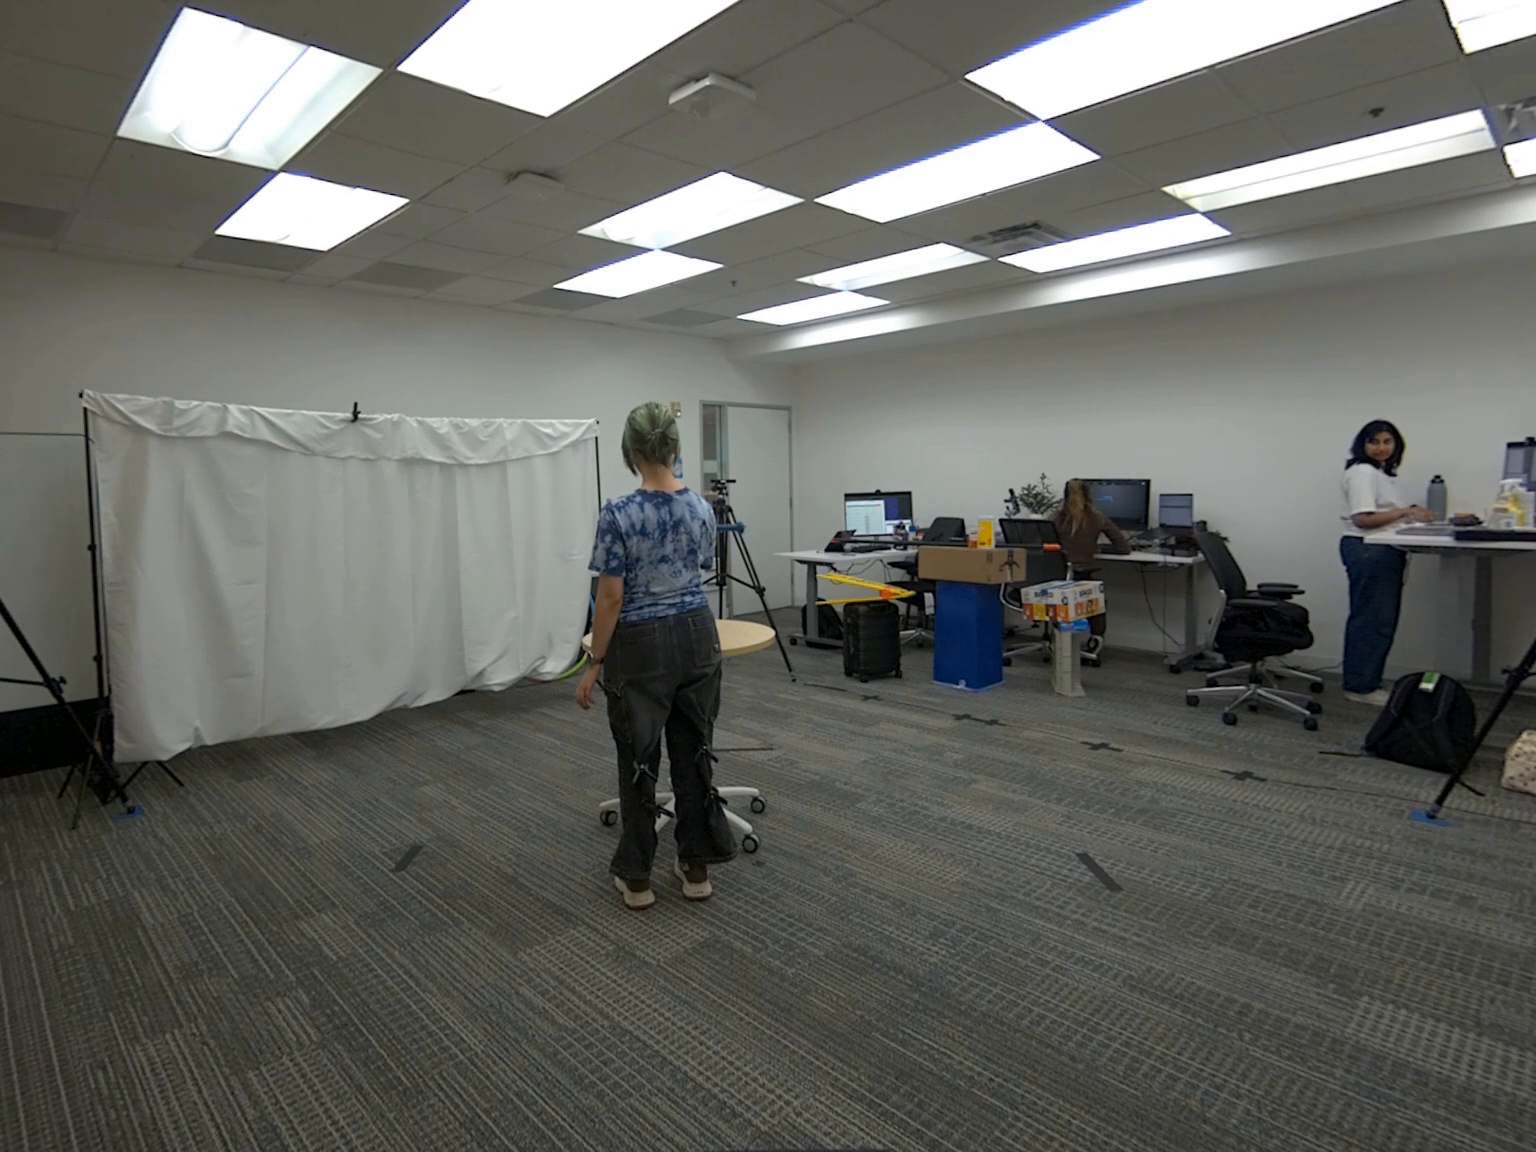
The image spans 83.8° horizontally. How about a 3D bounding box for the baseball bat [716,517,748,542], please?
[{"bbox_3d":[-0.356,-0.188,3.313,0.536,0.089,0.090,1,4,-12],"label":"baseball bat"}]
